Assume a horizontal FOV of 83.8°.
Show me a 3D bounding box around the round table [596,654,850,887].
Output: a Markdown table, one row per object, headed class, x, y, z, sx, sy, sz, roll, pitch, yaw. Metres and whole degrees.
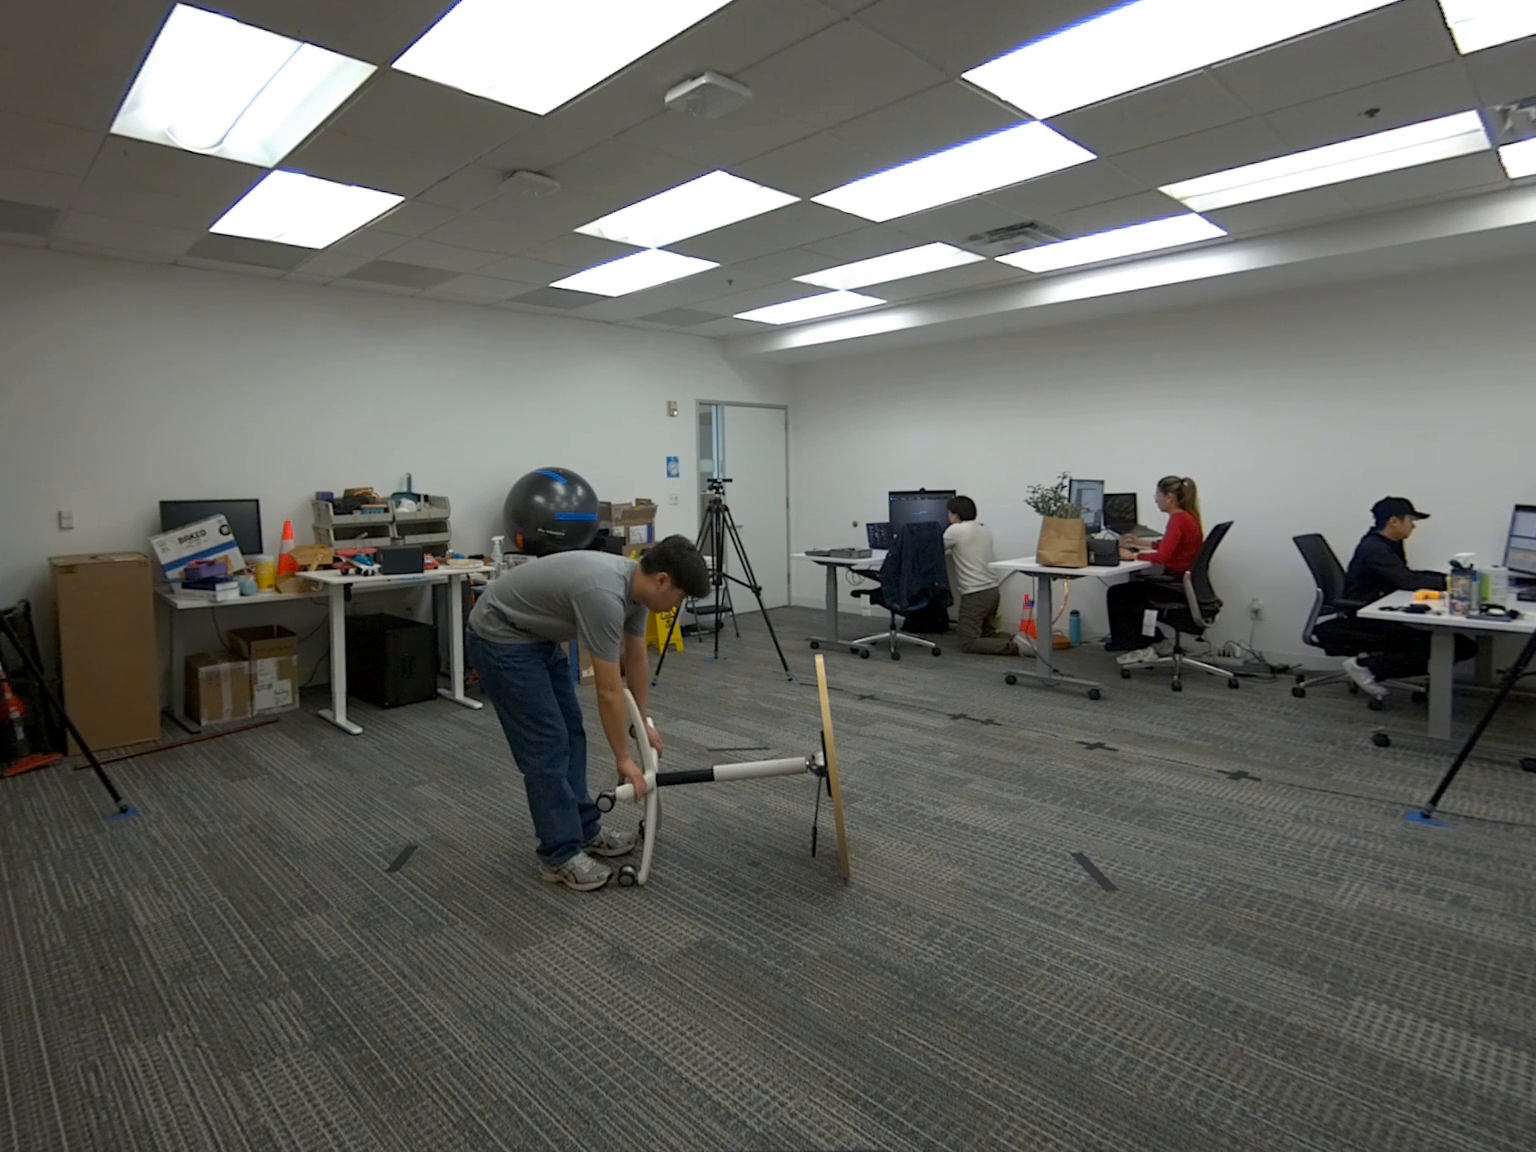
| class | x | y | z | sx | sy | sz | roll | pitch | yaw |
| --- | --- | --- | --- | --- | --- | --- | --- | --- | --- |
| round table | -0.150 | 0.707 | 3.083 | 0.797 | 0.761 | 0.764 | -7 | 4 | 4 |
